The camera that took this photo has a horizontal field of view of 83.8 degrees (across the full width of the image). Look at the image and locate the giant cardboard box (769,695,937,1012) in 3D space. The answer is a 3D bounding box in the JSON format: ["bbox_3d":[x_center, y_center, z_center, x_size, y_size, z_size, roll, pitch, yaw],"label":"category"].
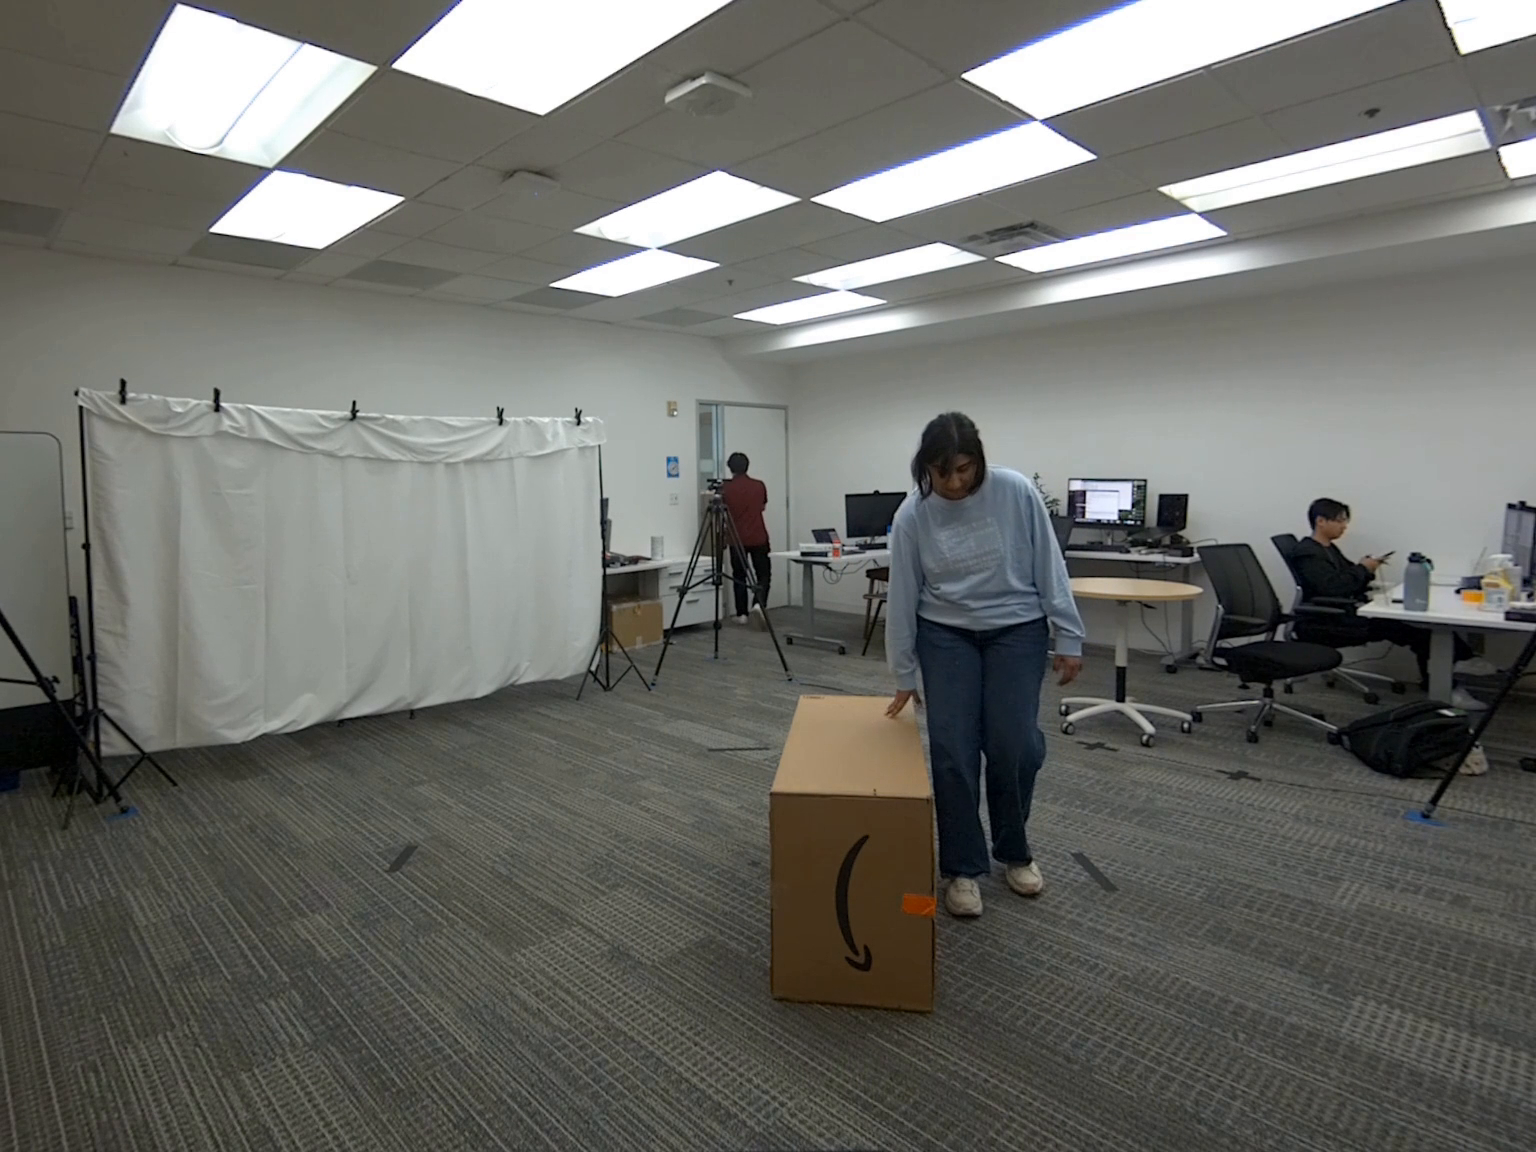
[{"bbox_3d":[0.277,0.792,2.734,0.429,0.575,1.022,0,6,7],"label":"giant cardboard box"}]
